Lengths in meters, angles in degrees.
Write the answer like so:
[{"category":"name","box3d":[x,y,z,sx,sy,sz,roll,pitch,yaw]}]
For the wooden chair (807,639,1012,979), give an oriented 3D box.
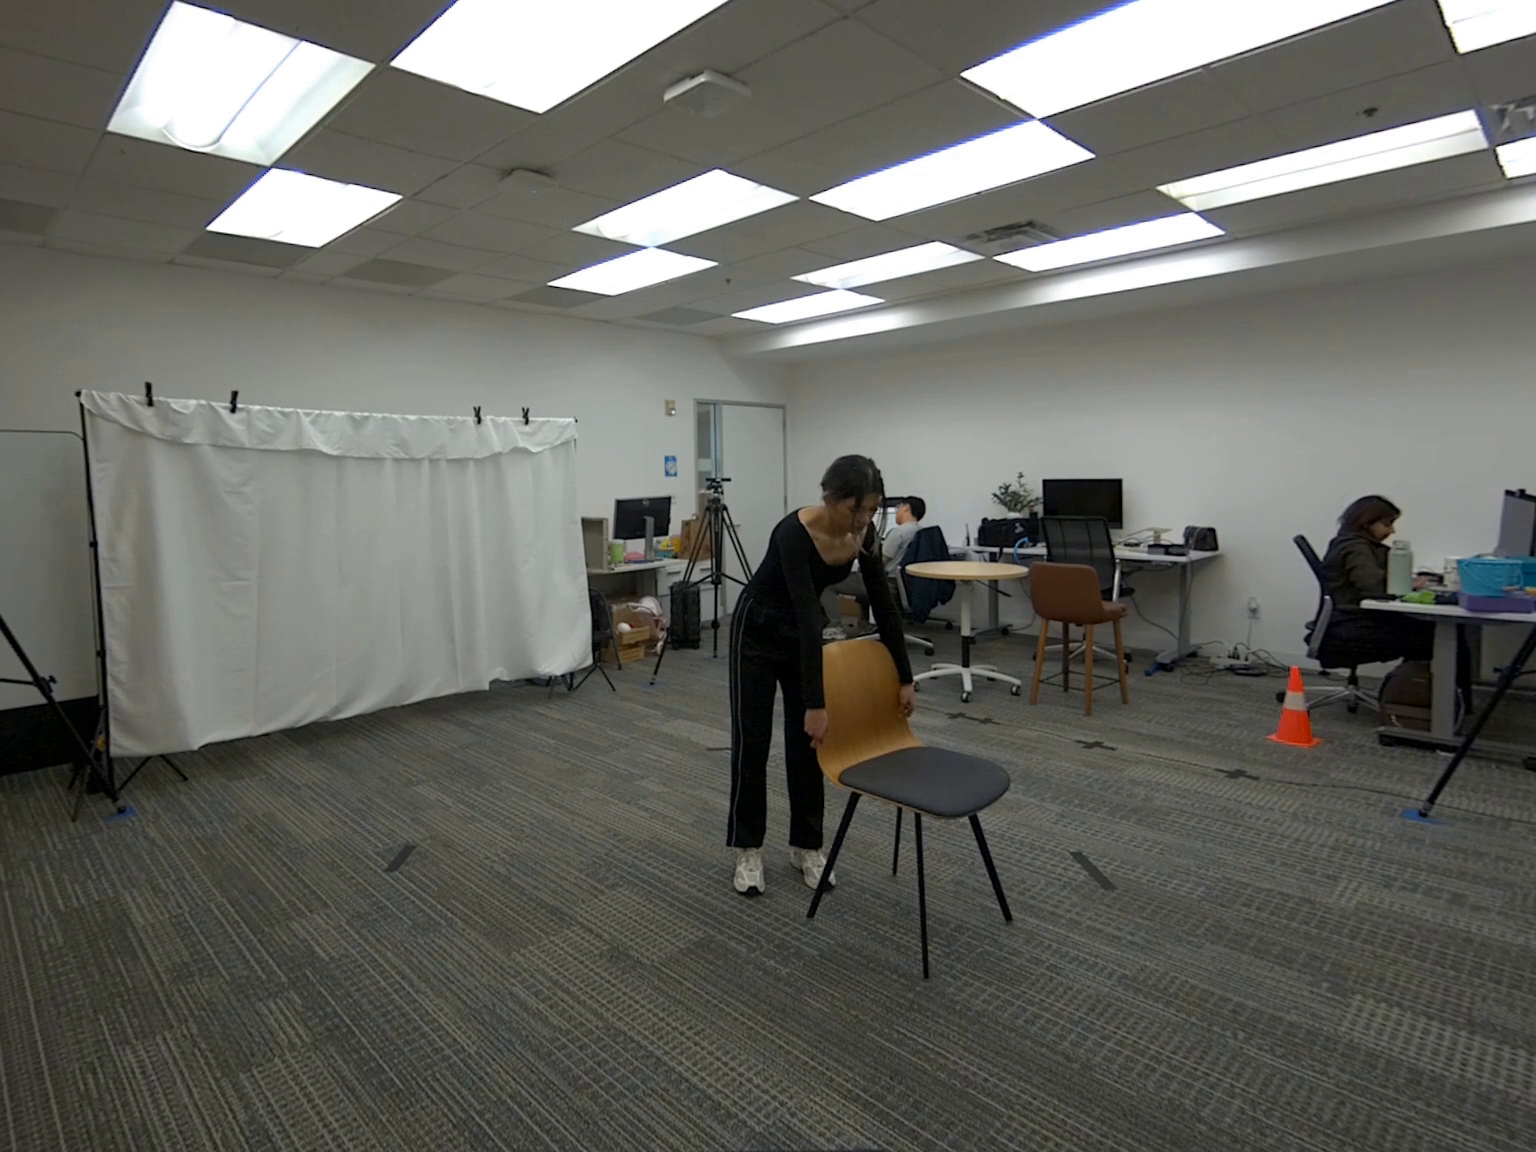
[{"category":"wooden chair","box3d":[0.439,0.656,2.639,0.465,0.877,0.537,-5,1,-42]}]
